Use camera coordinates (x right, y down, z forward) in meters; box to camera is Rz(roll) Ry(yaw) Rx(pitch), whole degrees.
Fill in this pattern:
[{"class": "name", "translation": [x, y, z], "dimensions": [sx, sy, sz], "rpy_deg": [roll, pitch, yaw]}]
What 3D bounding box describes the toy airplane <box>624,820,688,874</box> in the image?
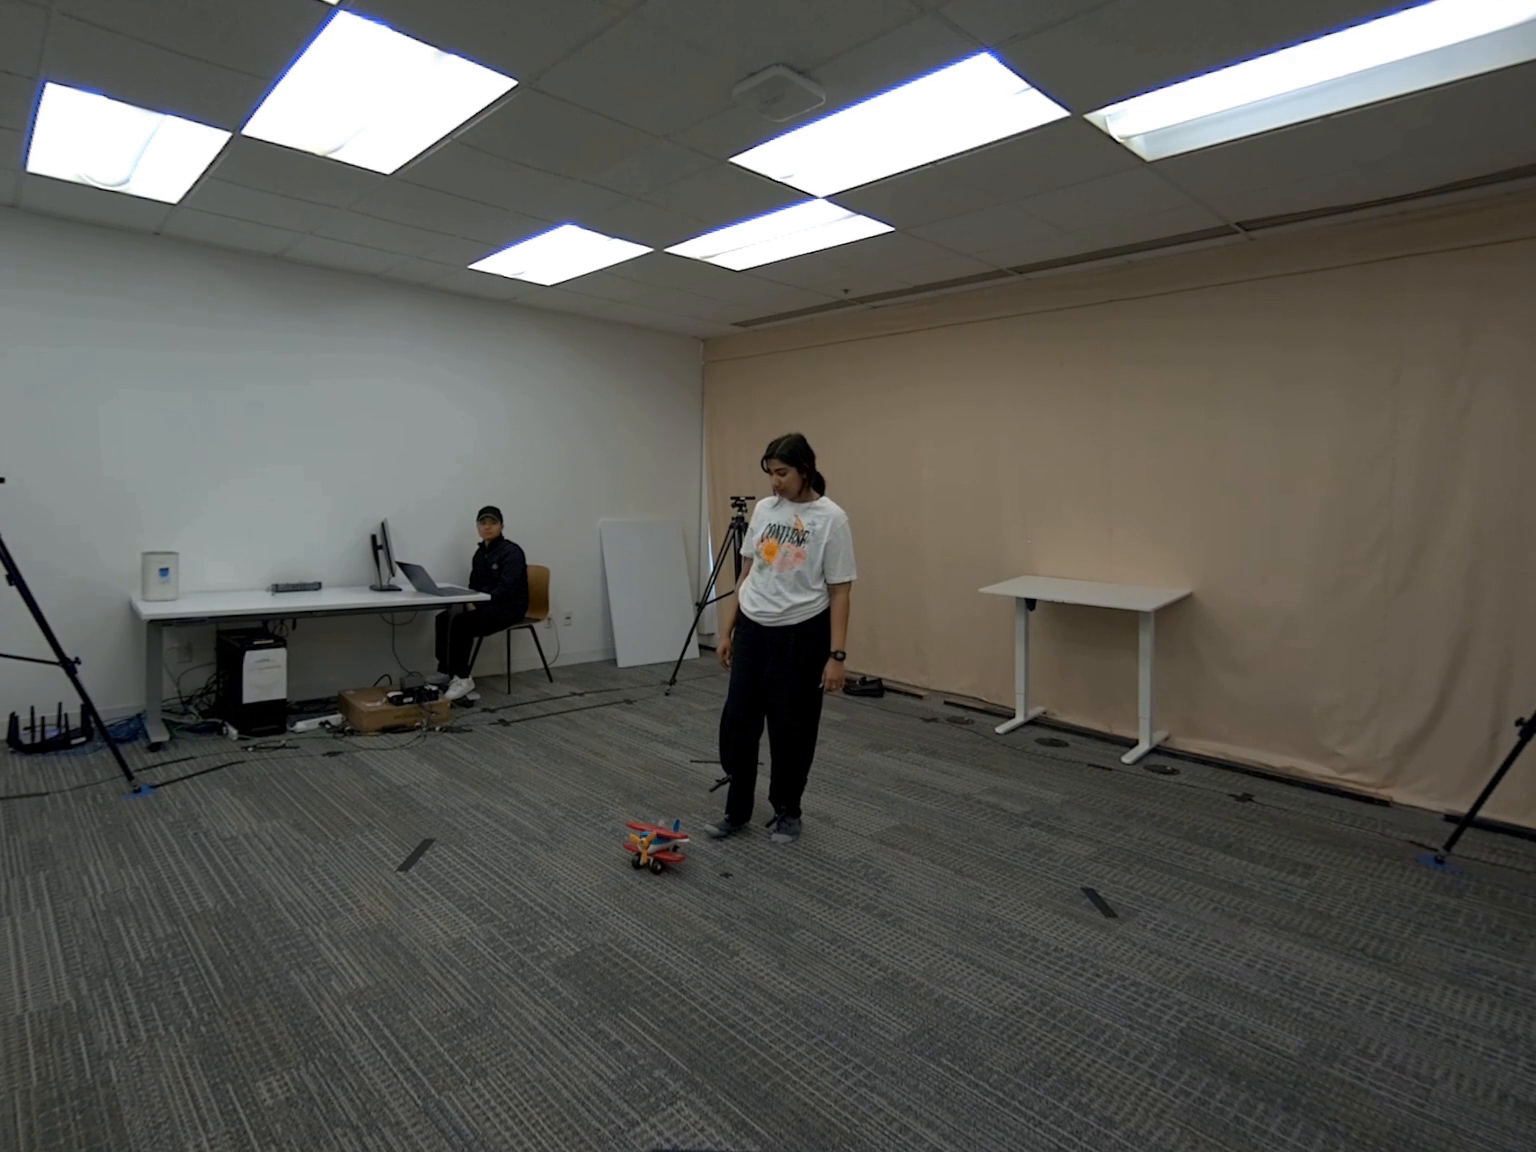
[{"class": "toy airplane", "translation": [-0.432, 1.012, 3.200], "dimensions": [0.251, 0.156, 0.260], "rpy_deg": [1, 6, -1]}]
